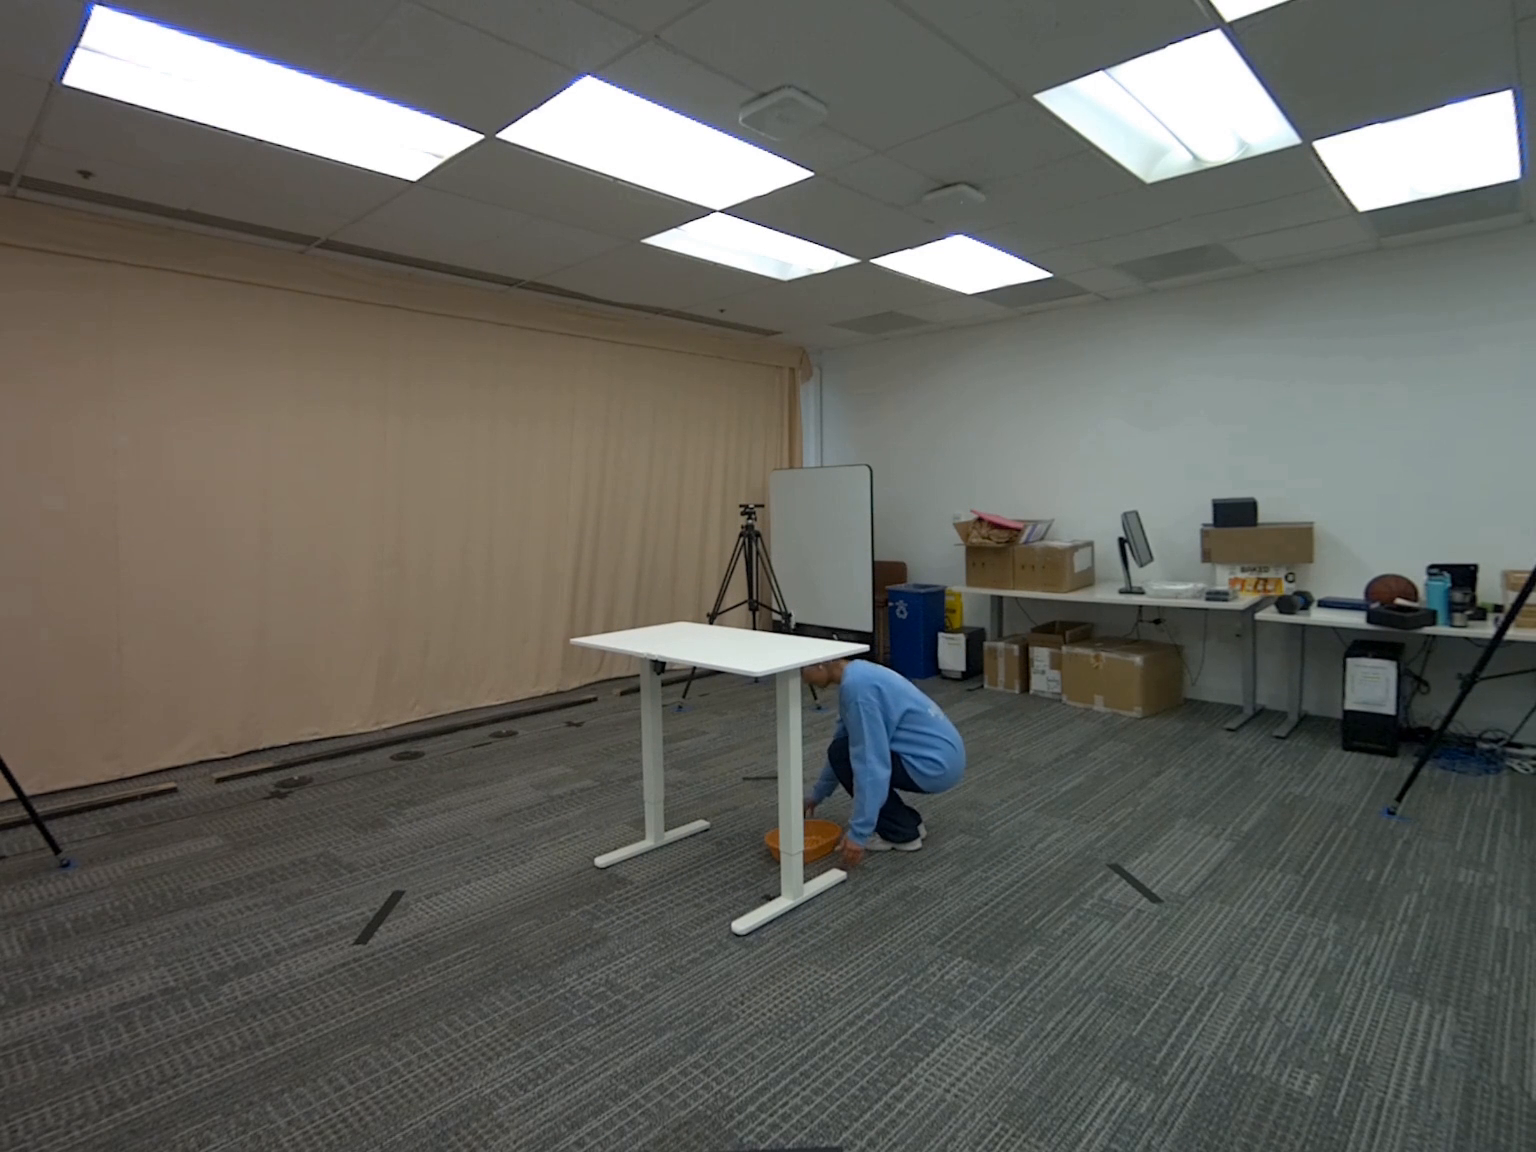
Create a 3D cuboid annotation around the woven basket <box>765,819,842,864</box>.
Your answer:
[{"bbox_3d":[0.139,1.060,3.362,0.261,0.073,0.340,2,5,45],"label":"woven basket"}]
